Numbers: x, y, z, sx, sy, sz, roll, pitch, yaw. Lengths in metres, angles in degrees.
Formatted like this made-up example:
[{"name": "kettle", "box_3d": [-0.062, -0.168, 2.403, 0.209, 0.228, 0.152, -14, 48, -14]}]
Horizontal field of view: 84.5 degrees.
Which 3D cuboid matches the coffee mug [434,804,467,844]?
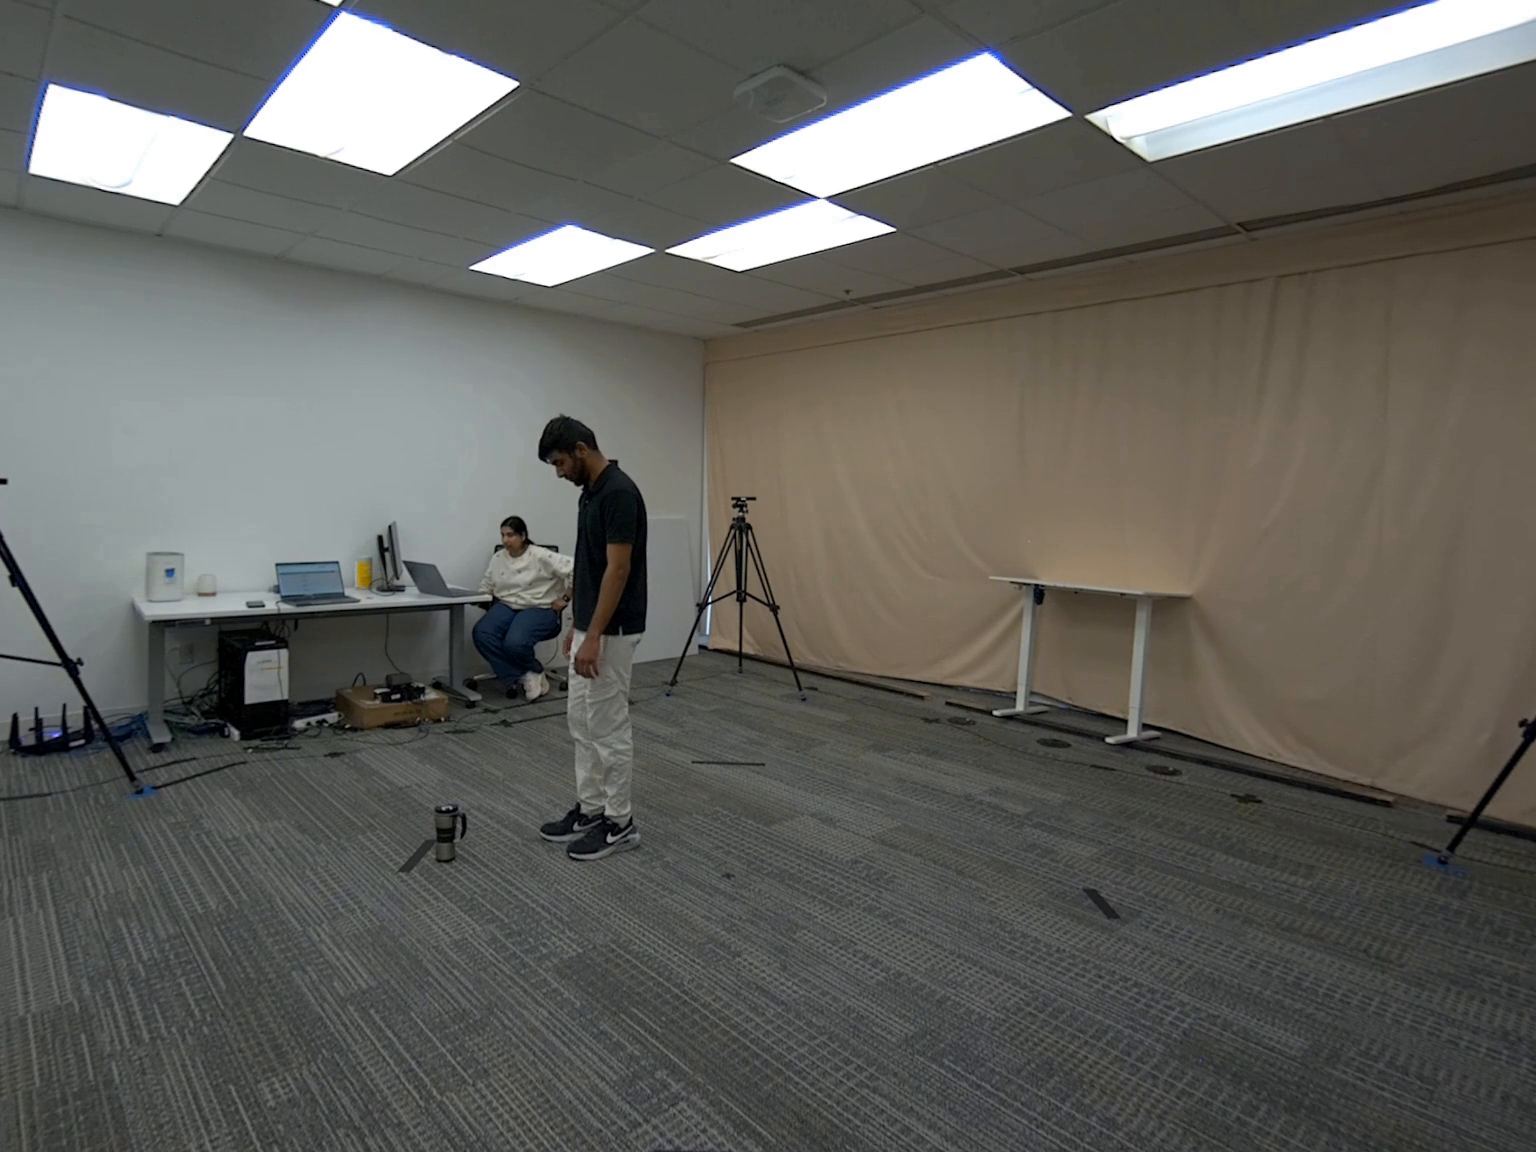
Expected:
[{"name": "coffee mug", "box_3d": [-1.215, 0.980, 3.173, 0.086, 0.203, 0.125, 3, -3, -44]}]
